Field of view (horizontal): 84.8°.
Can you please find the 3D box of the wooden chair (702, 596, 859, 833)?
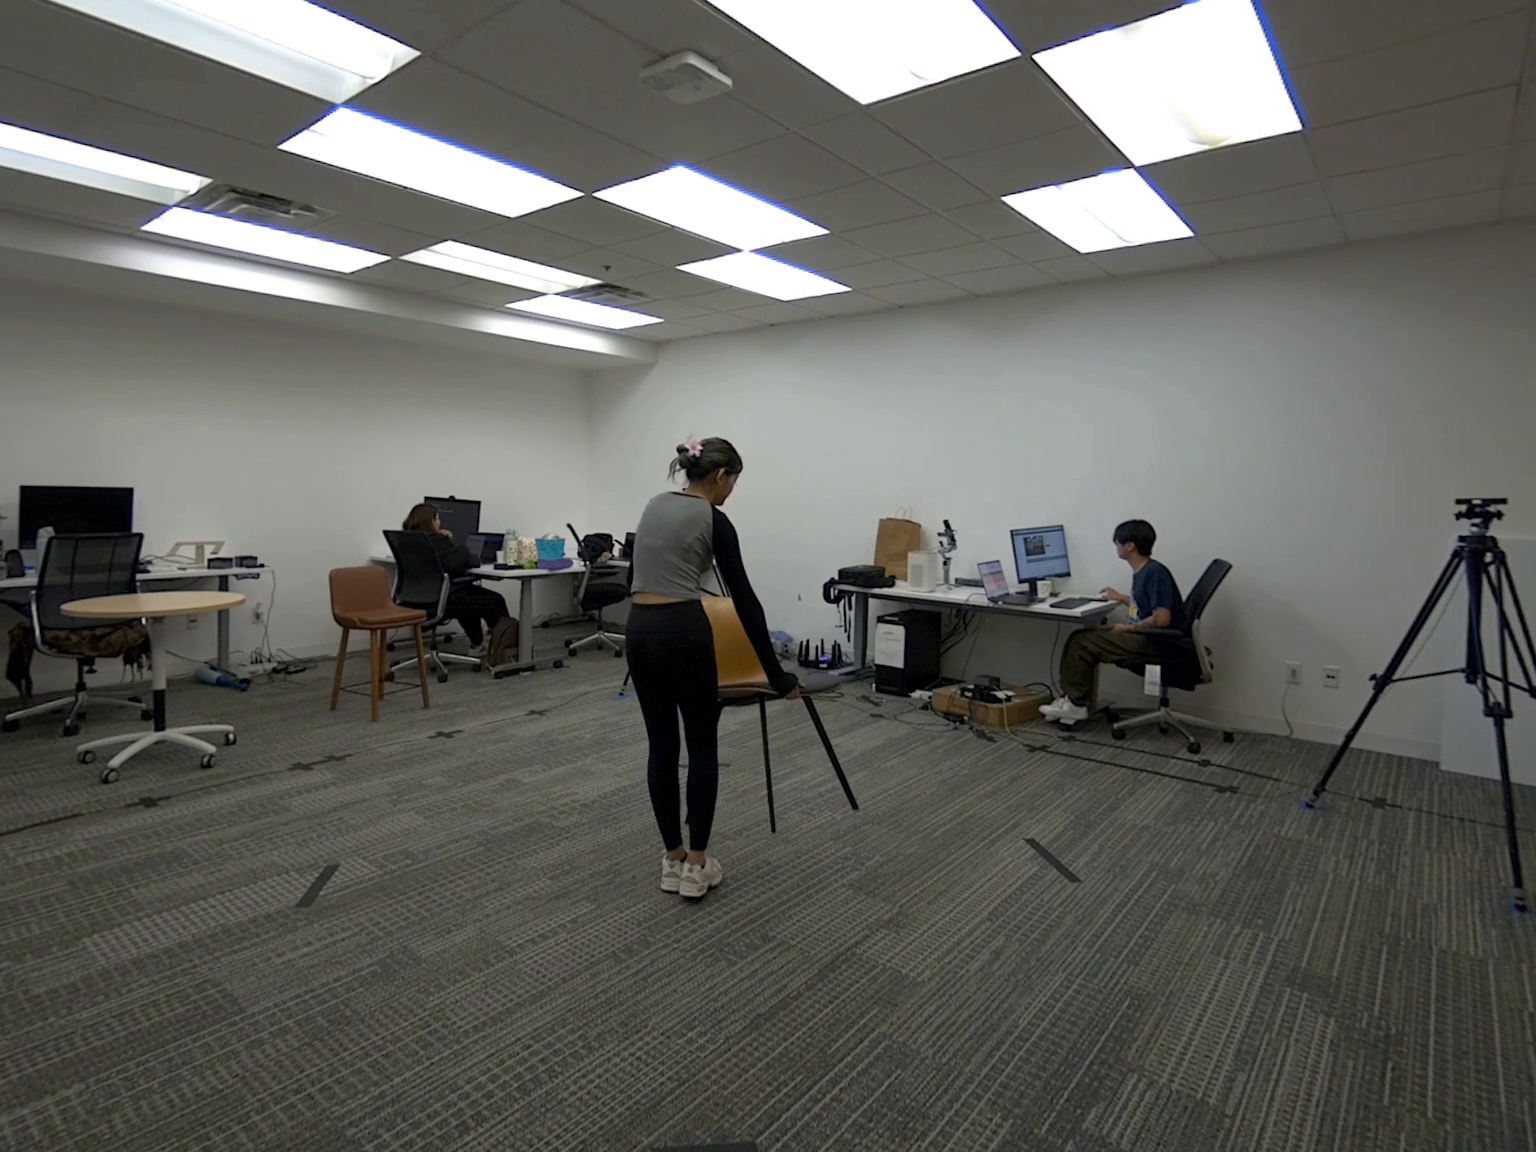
[{"bbox_3d":[-0.021,0.463,3.174,0.462,0.889,0.534,3,-15,-44],"label":"wooden chair"}]
